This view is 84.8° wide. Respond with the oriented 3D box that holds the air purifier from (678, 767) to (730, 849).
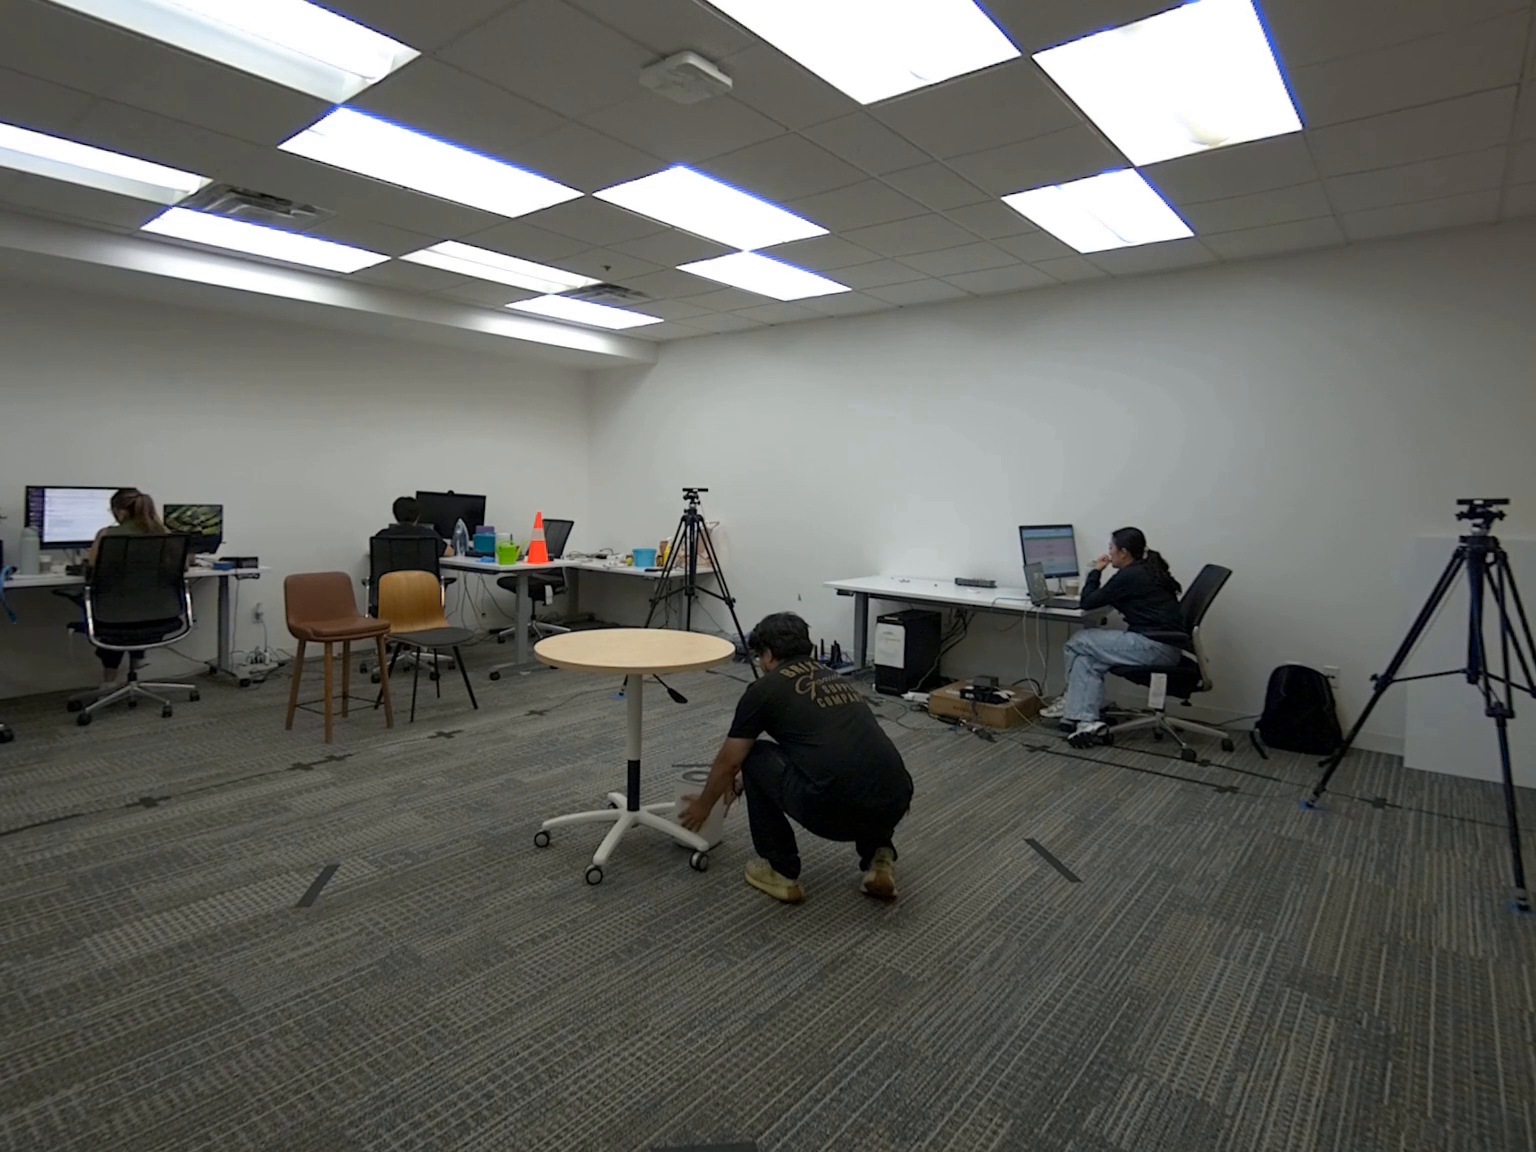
[{"bbox_3d":[-0.278,0.915,3.343,0.176,0.264,0.167,3,5,29],"label":"air purifier"}]
